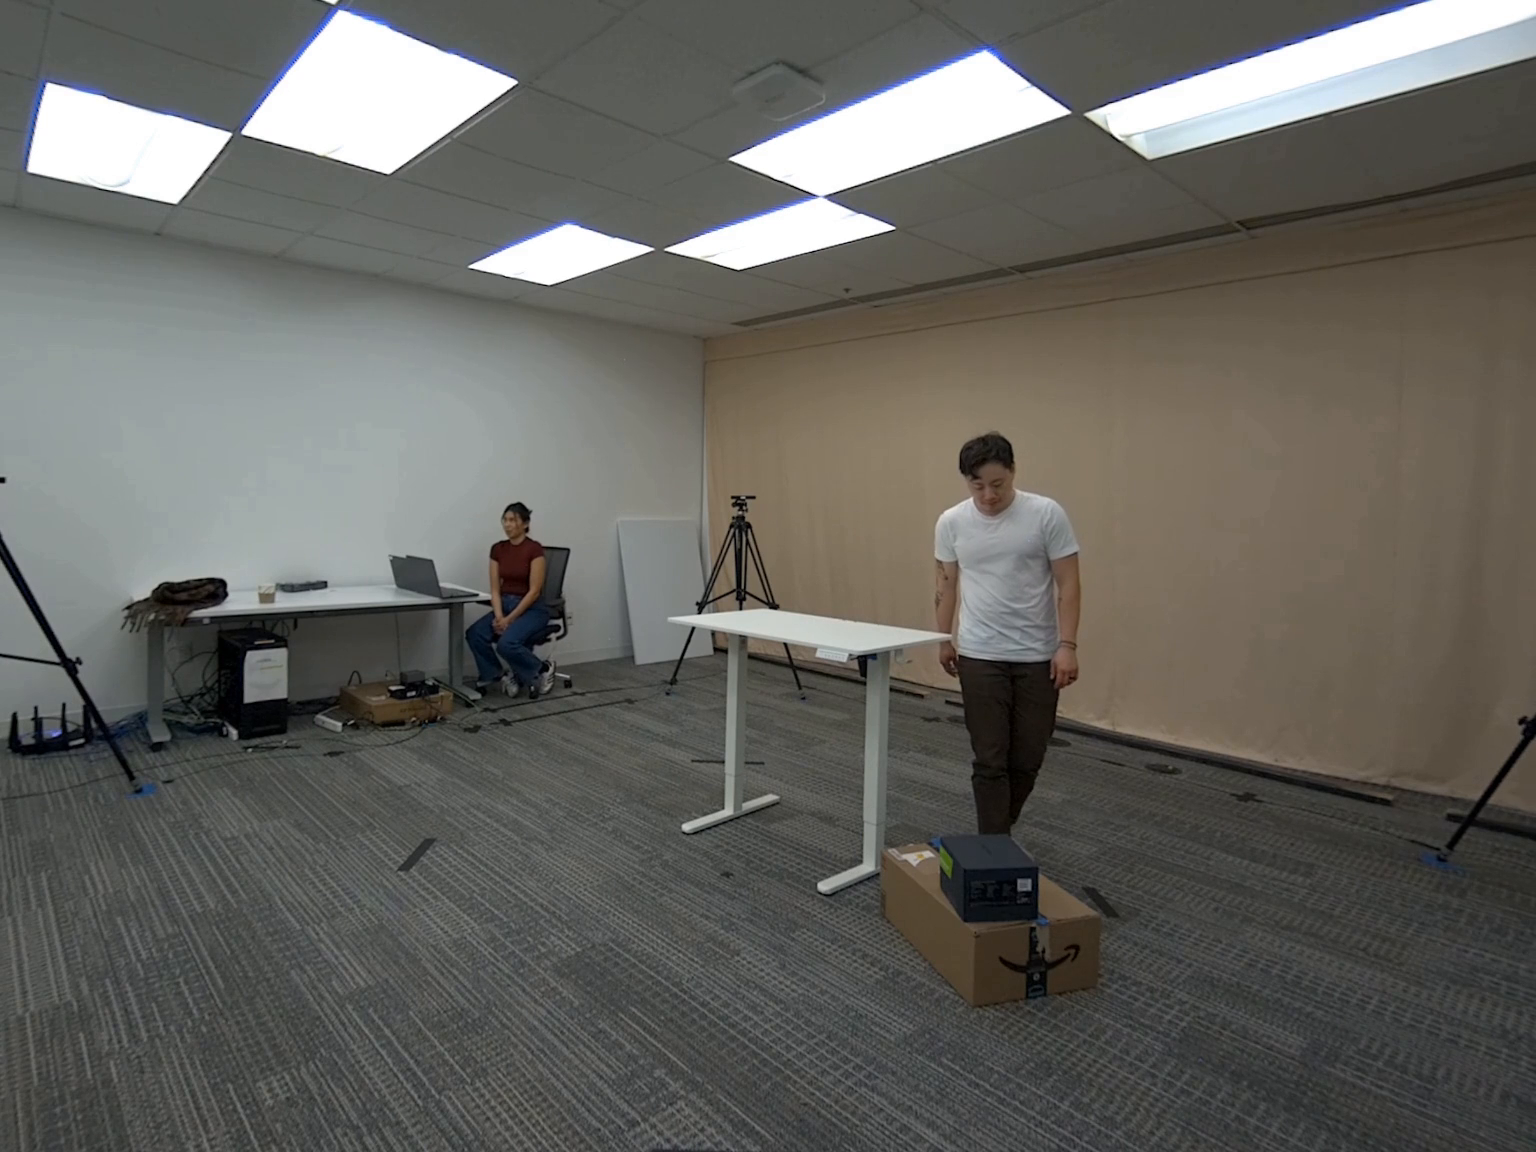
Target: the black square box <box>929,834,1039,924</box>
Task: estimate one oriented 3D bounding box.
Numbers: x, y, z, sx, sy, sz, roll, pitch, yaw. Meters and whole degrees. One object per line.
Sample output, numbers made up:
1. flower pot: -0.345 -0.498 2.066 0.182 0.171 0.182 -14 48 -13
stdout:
1. black square box: 0.631 0.878 2.470 0.216 0.155 0.229 0 4 -4
